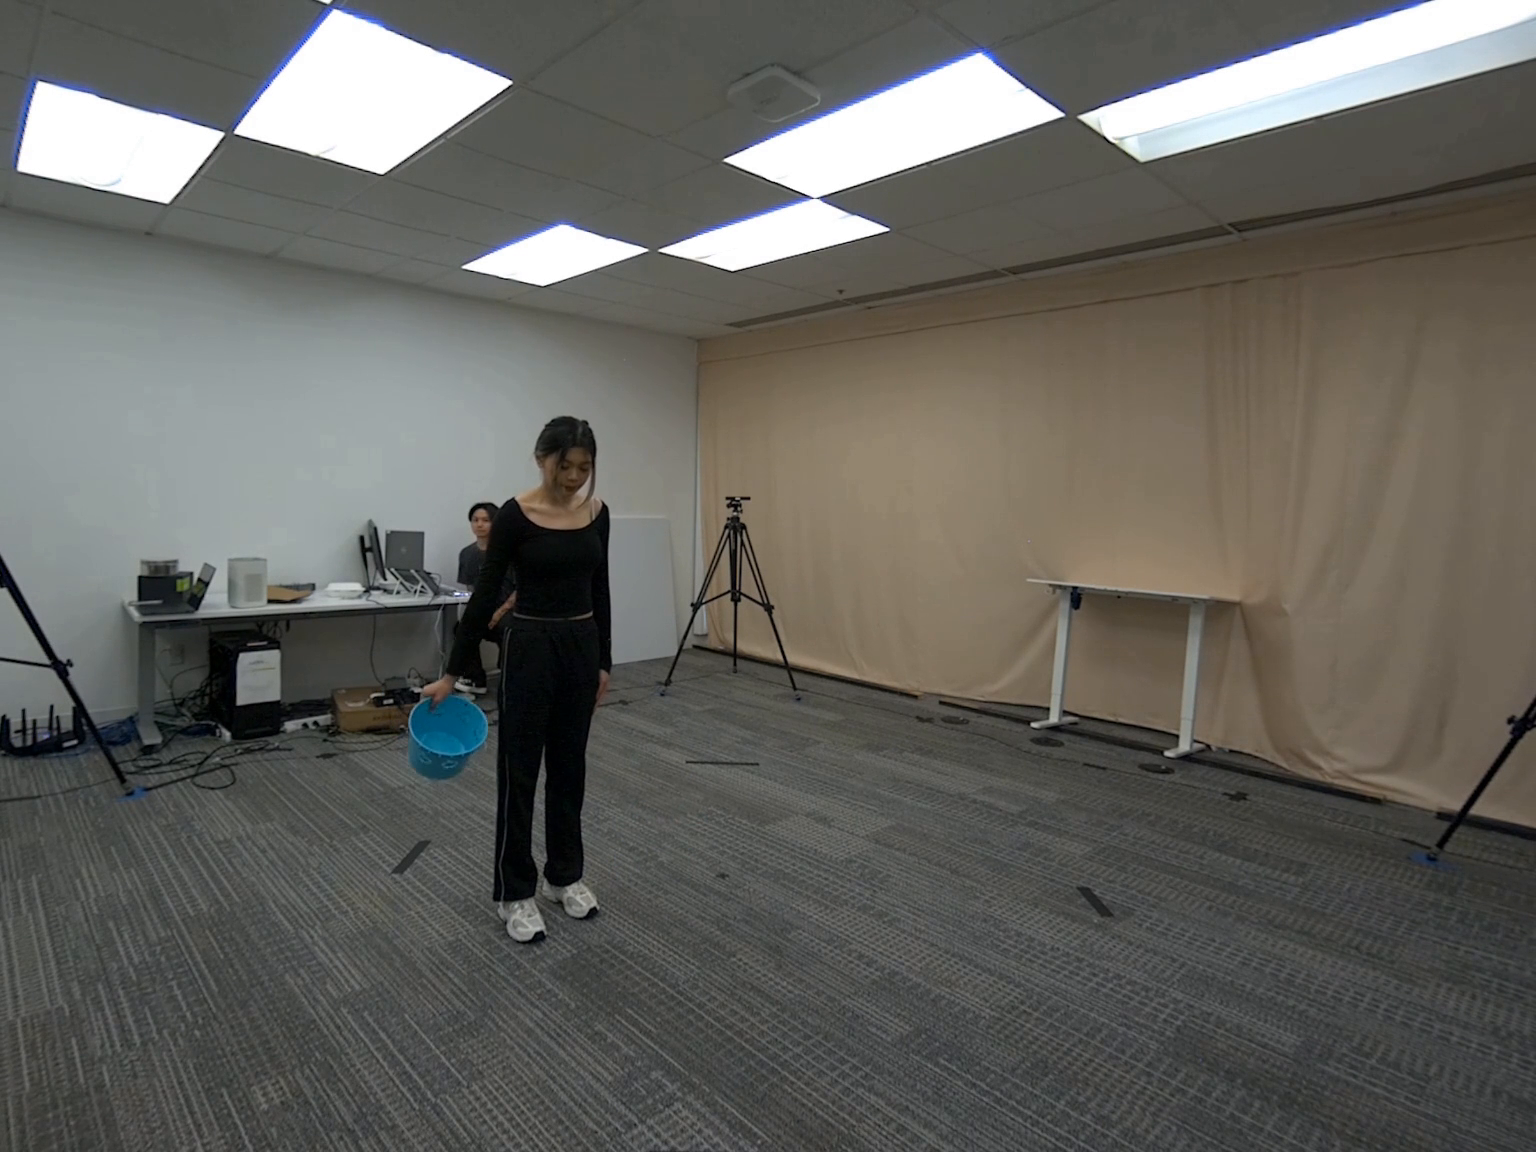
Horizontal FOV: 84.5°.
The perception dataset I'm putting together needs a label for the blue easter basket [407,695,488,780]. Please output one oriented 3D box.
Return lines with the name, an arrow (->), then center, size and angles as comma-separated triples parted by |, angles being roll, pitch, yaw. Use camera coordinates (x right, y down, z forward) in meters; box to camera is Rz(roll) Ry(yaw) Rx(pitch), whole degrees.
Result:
blue easter basket -> -0.980, 0.497, 2.568 | 0.240, 0.155, 0.249 | 19, 33, -14
